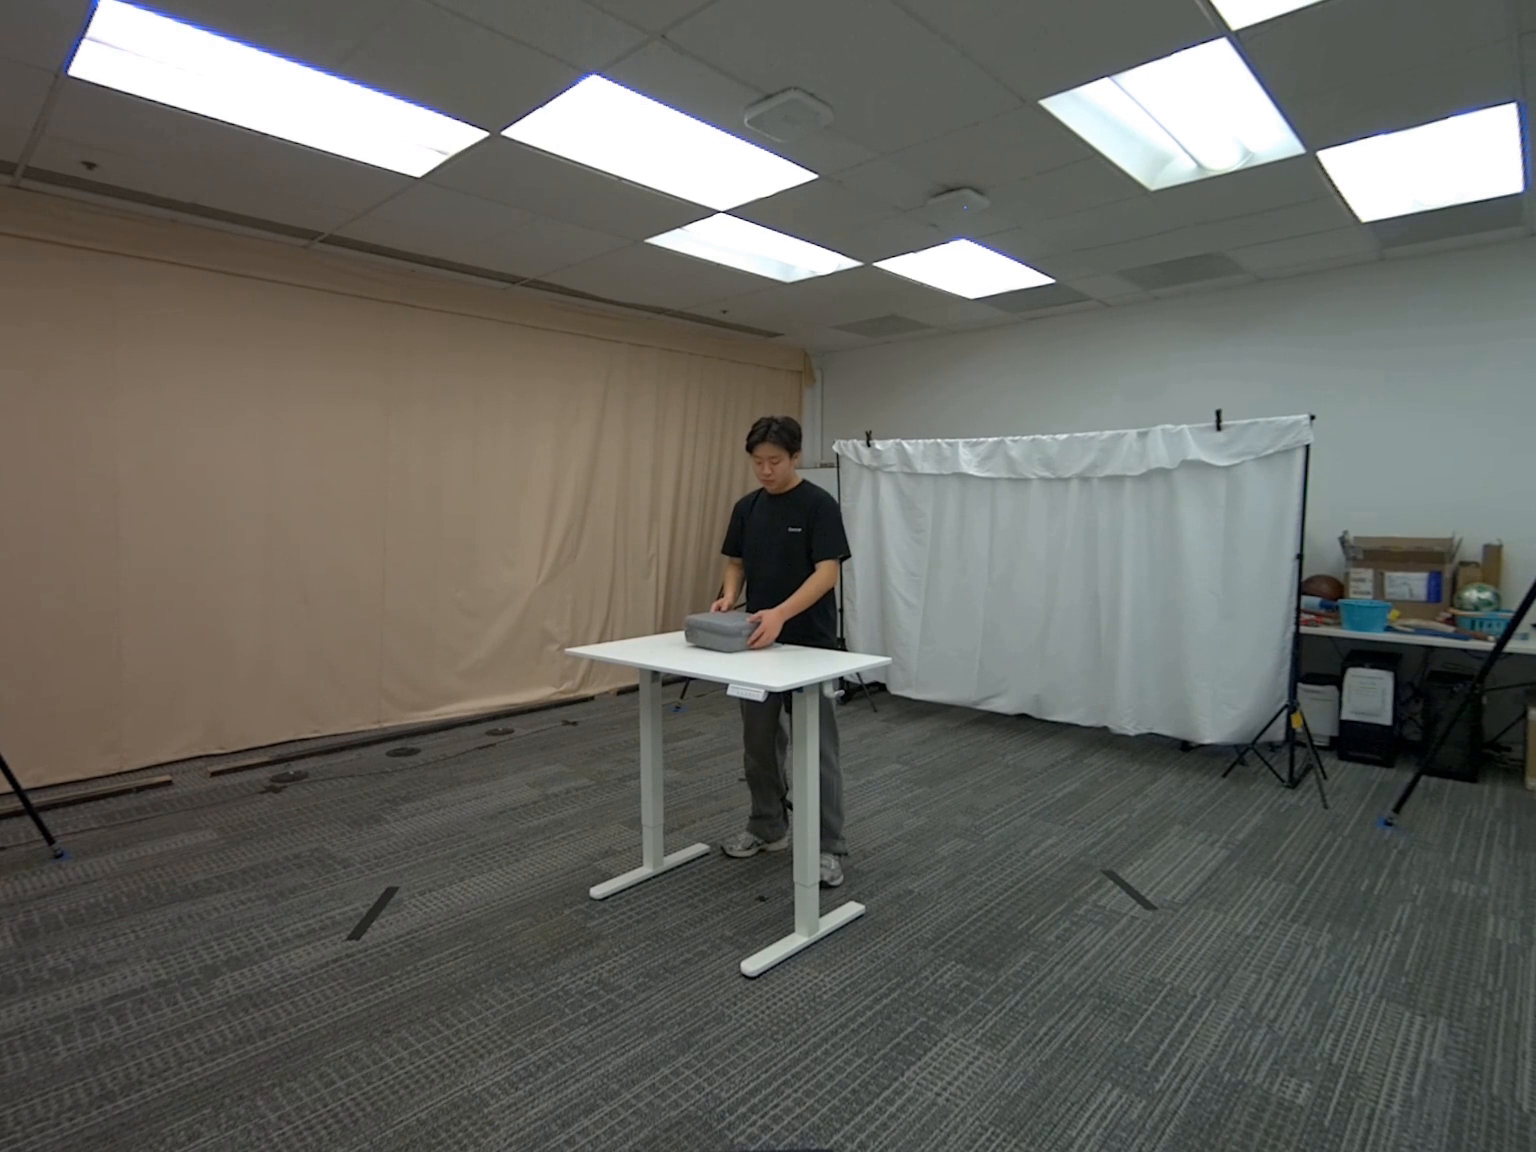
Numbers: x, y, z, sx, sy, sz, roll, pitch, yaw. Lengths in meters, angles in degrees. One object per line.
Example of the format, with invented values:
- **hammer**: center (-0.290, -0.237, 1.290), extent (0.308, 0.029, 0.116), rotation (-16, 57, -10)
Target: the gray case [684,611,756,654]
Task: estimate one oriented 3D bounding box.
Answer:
- **gray case**: center (-0.144, 0.199, 3.056), extent (0.269, 0.104, 0.249), rotation (8, 10, 43)
